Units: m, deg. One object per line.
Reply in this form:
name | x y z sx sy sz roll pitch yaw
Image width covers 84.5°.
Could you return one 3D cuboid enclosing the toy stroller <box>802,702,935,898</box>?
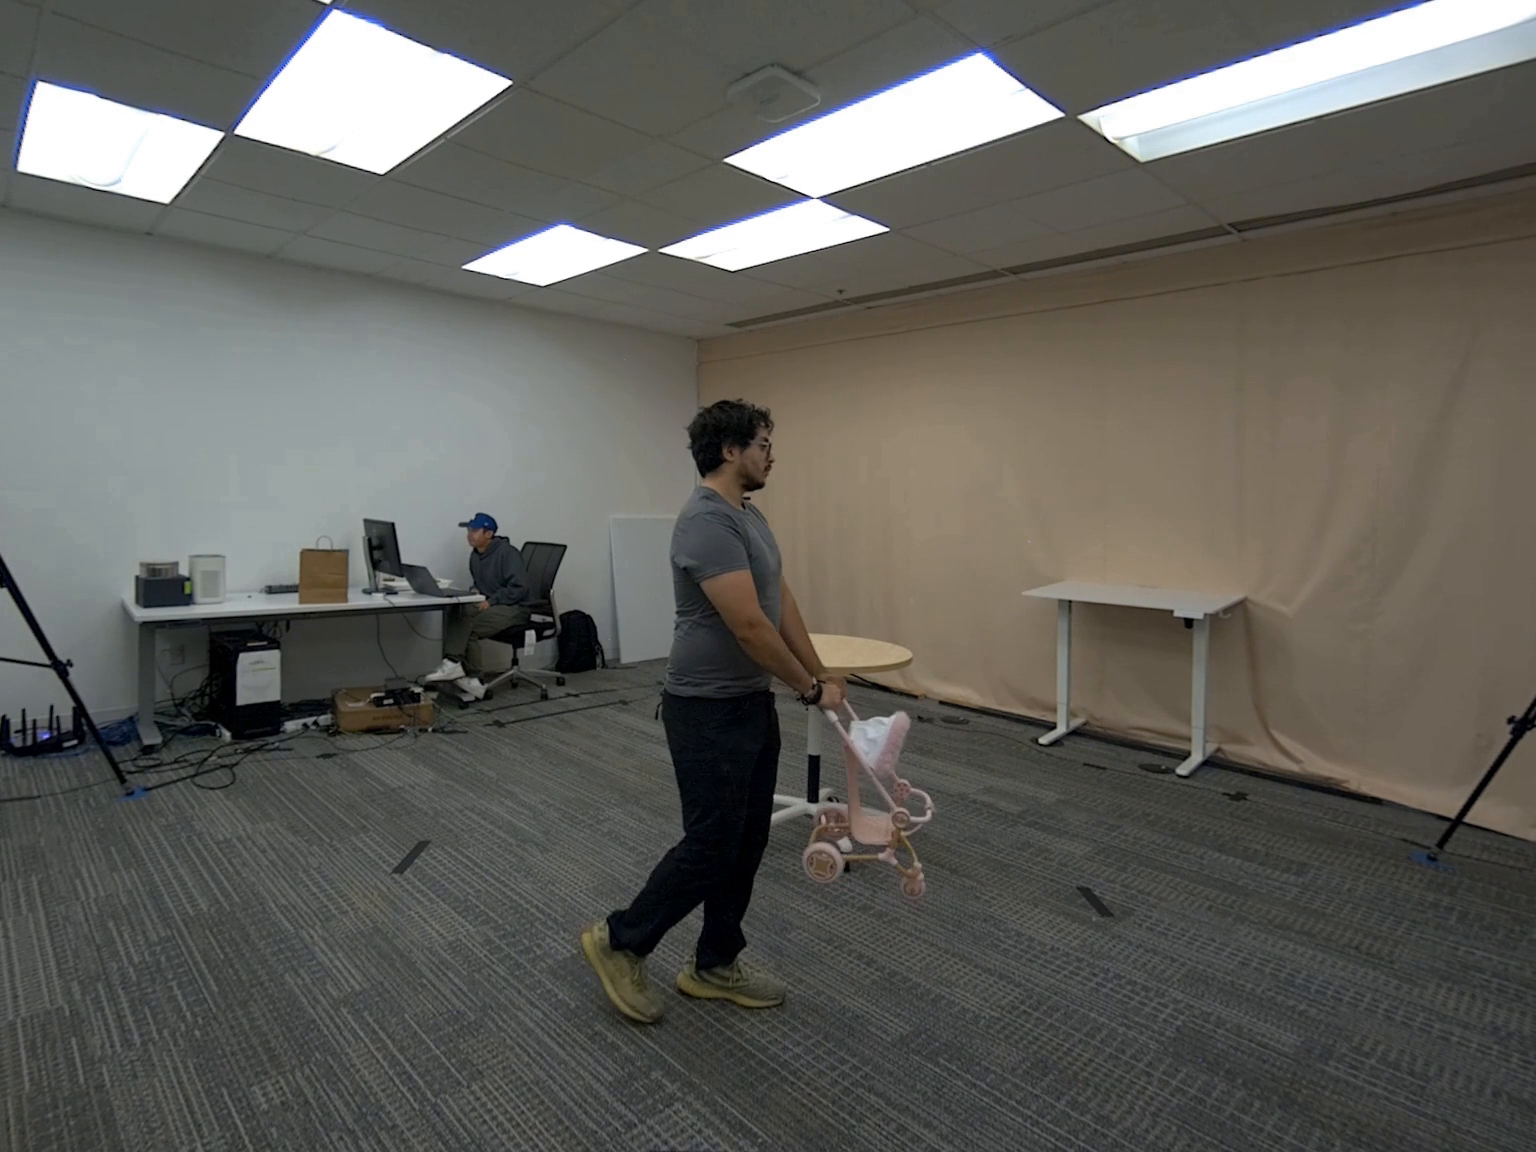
toy stroller | 0.277 0.597 2.255 0.346 0.533 0.279 8 7 16
